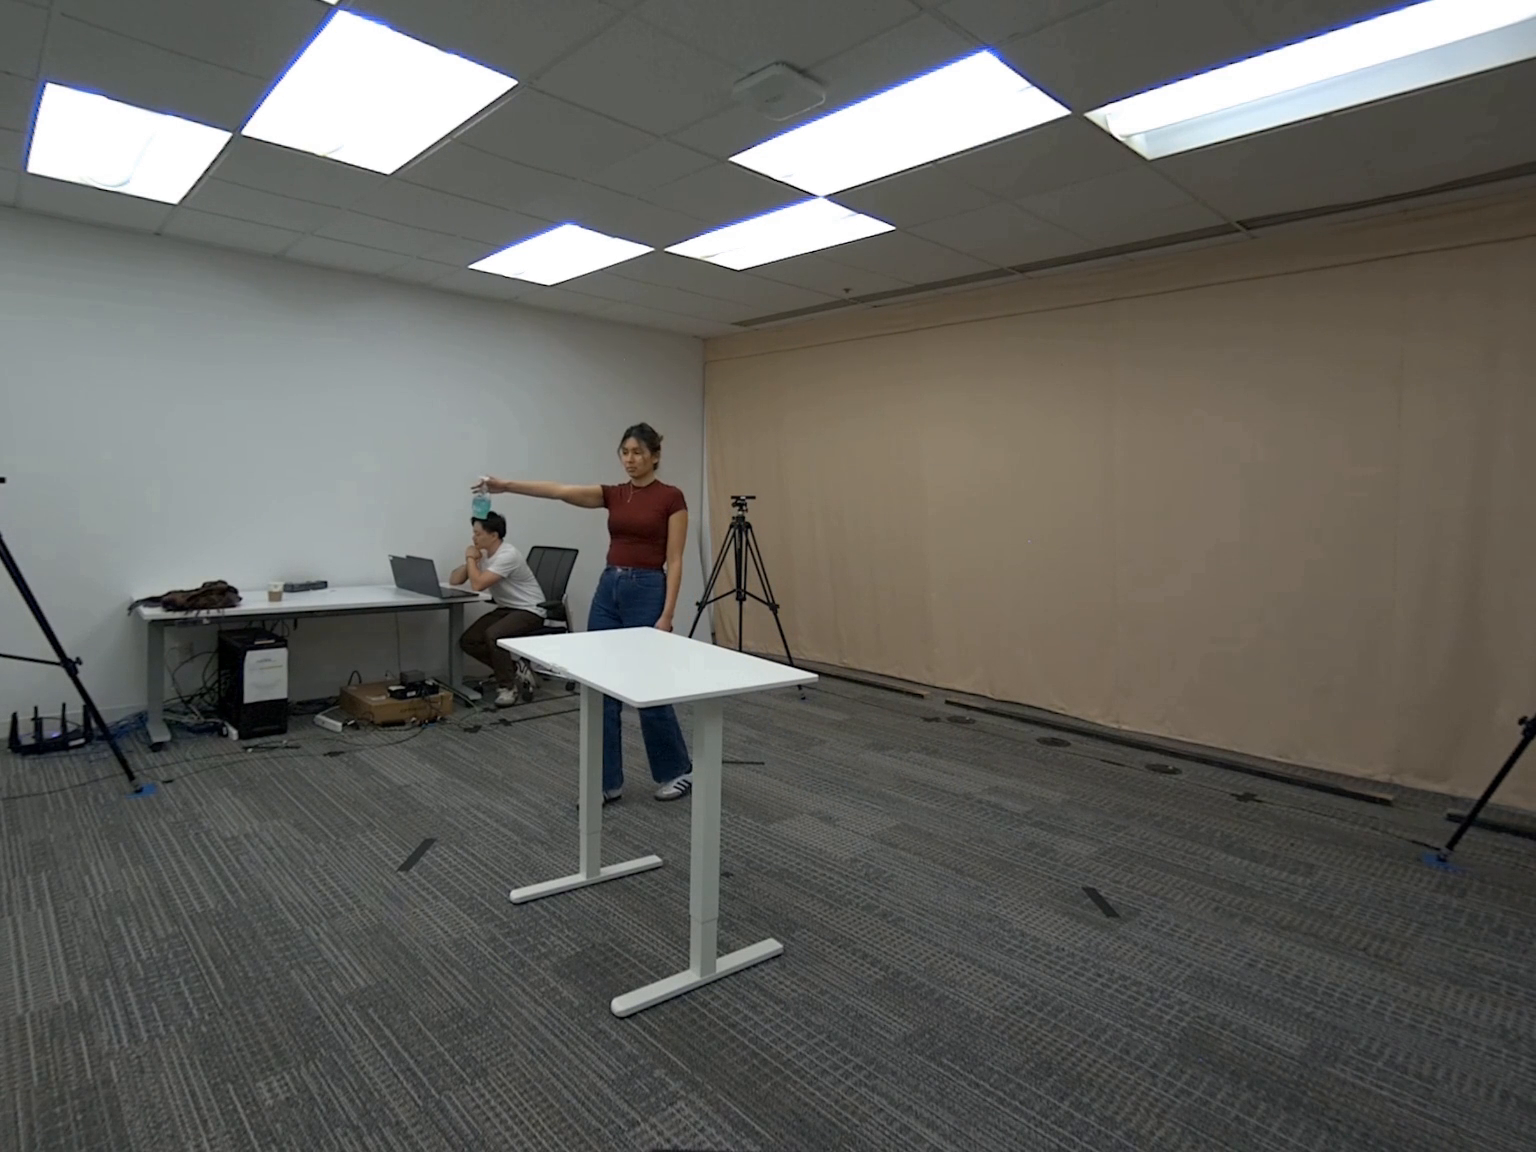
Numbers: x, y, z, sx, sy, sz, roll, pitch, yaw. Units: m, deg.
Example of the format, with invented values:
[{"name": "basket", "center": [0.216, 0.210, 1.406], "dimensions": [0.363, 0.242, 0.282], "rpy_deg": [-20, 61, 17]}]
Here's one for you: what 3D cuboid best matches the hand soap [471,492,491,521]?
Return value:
[{"name": "hand soap", "center": [-1.158, -0.318, 3.405], "dimensions": [0.086, 0.168, 0.042], "rpy_deg": [15, 5, 23]}]
